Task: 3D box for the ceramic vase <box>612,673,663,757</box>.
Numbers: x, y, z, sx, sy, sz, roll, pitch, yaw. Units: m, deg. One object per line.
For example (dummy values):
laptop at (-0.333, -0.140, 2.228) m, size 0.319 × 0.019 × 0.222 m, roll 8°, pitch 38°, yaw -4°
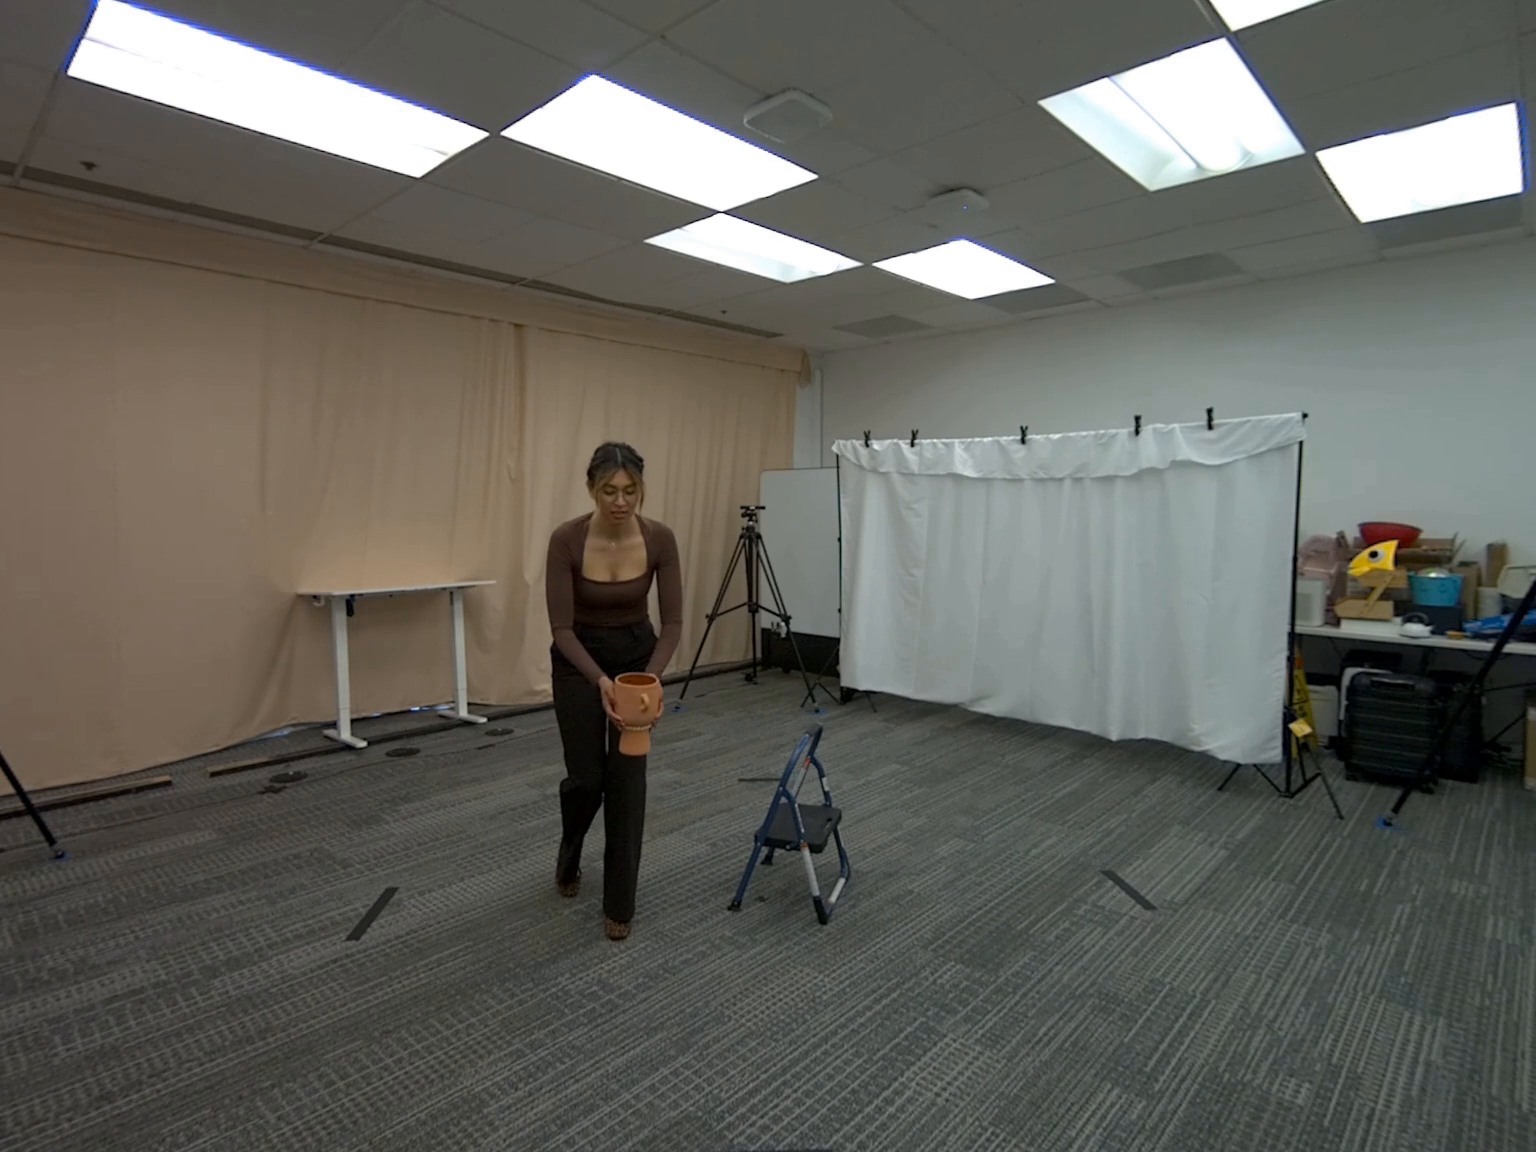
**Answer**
ceramic vase at (-0.393, 0.419, 2.537) m, size 0.137 × 0.219 × 0.156 m, roll 3°, pitch 8°, yaw 18°
